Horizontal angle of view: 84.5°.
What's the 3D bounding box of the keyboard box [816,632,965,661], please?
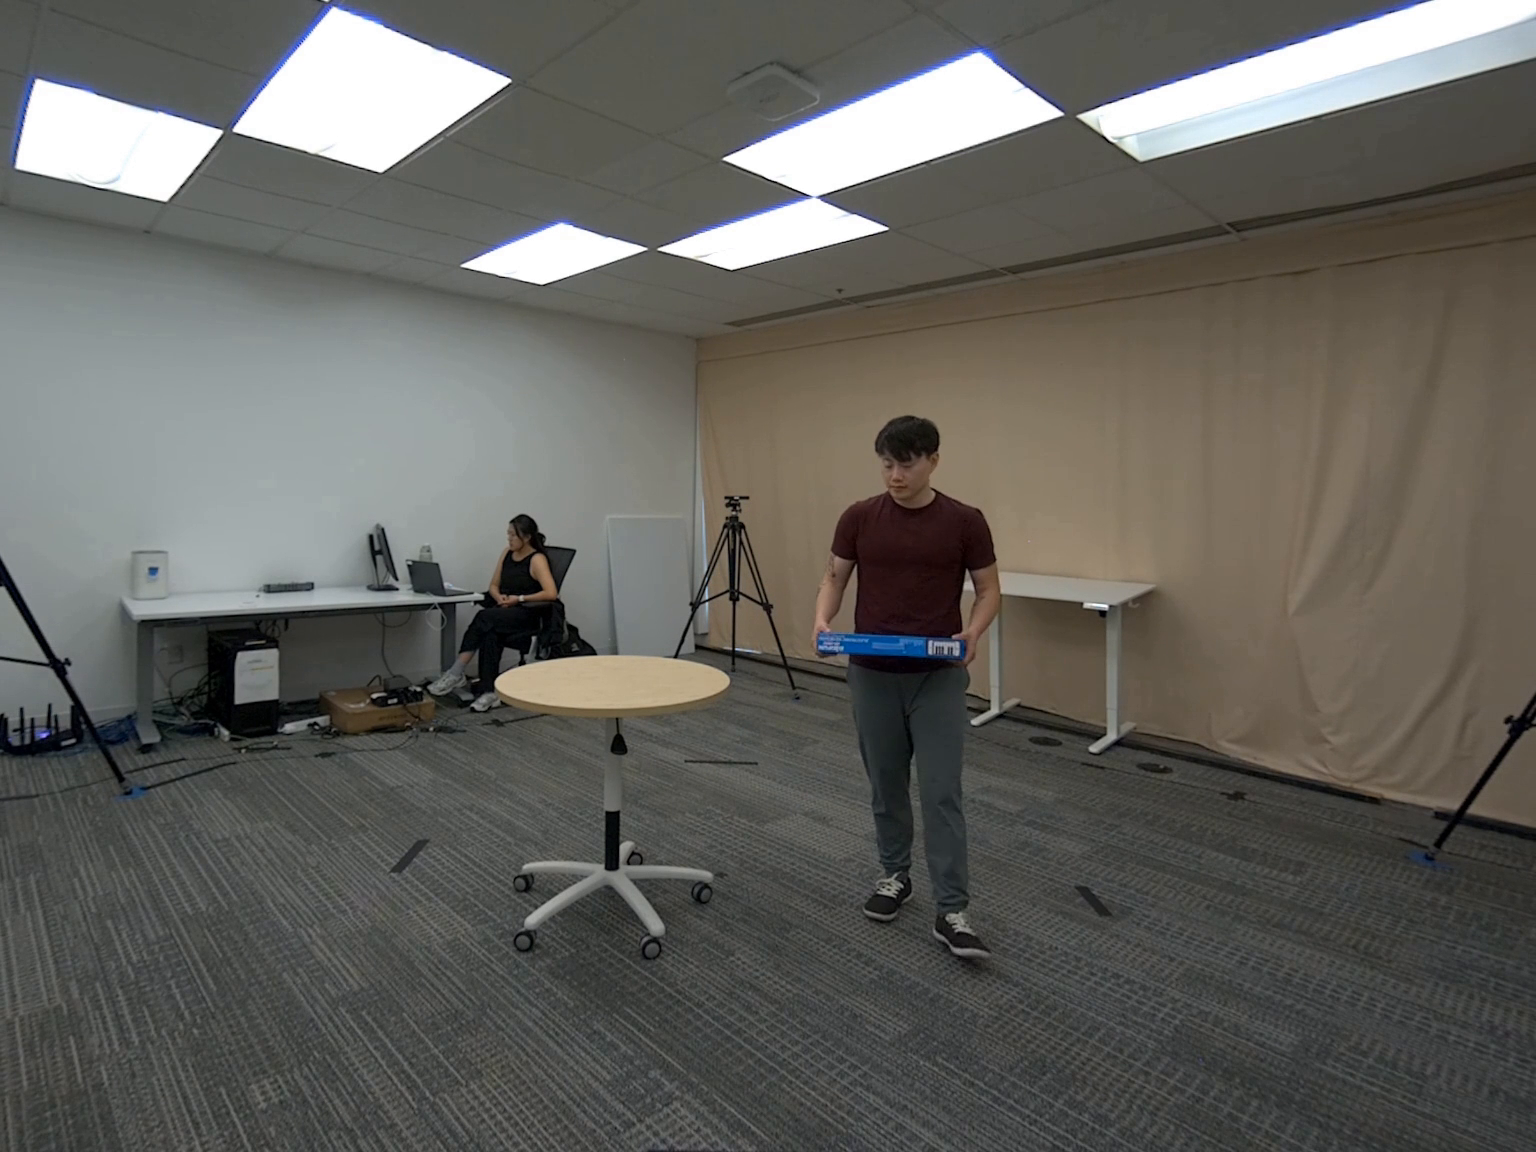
[{"bbox_3d":[0.386,0.221,2.615,0.443,0.059,0.173,0,-5,17],"label":"keyboard box"}]
